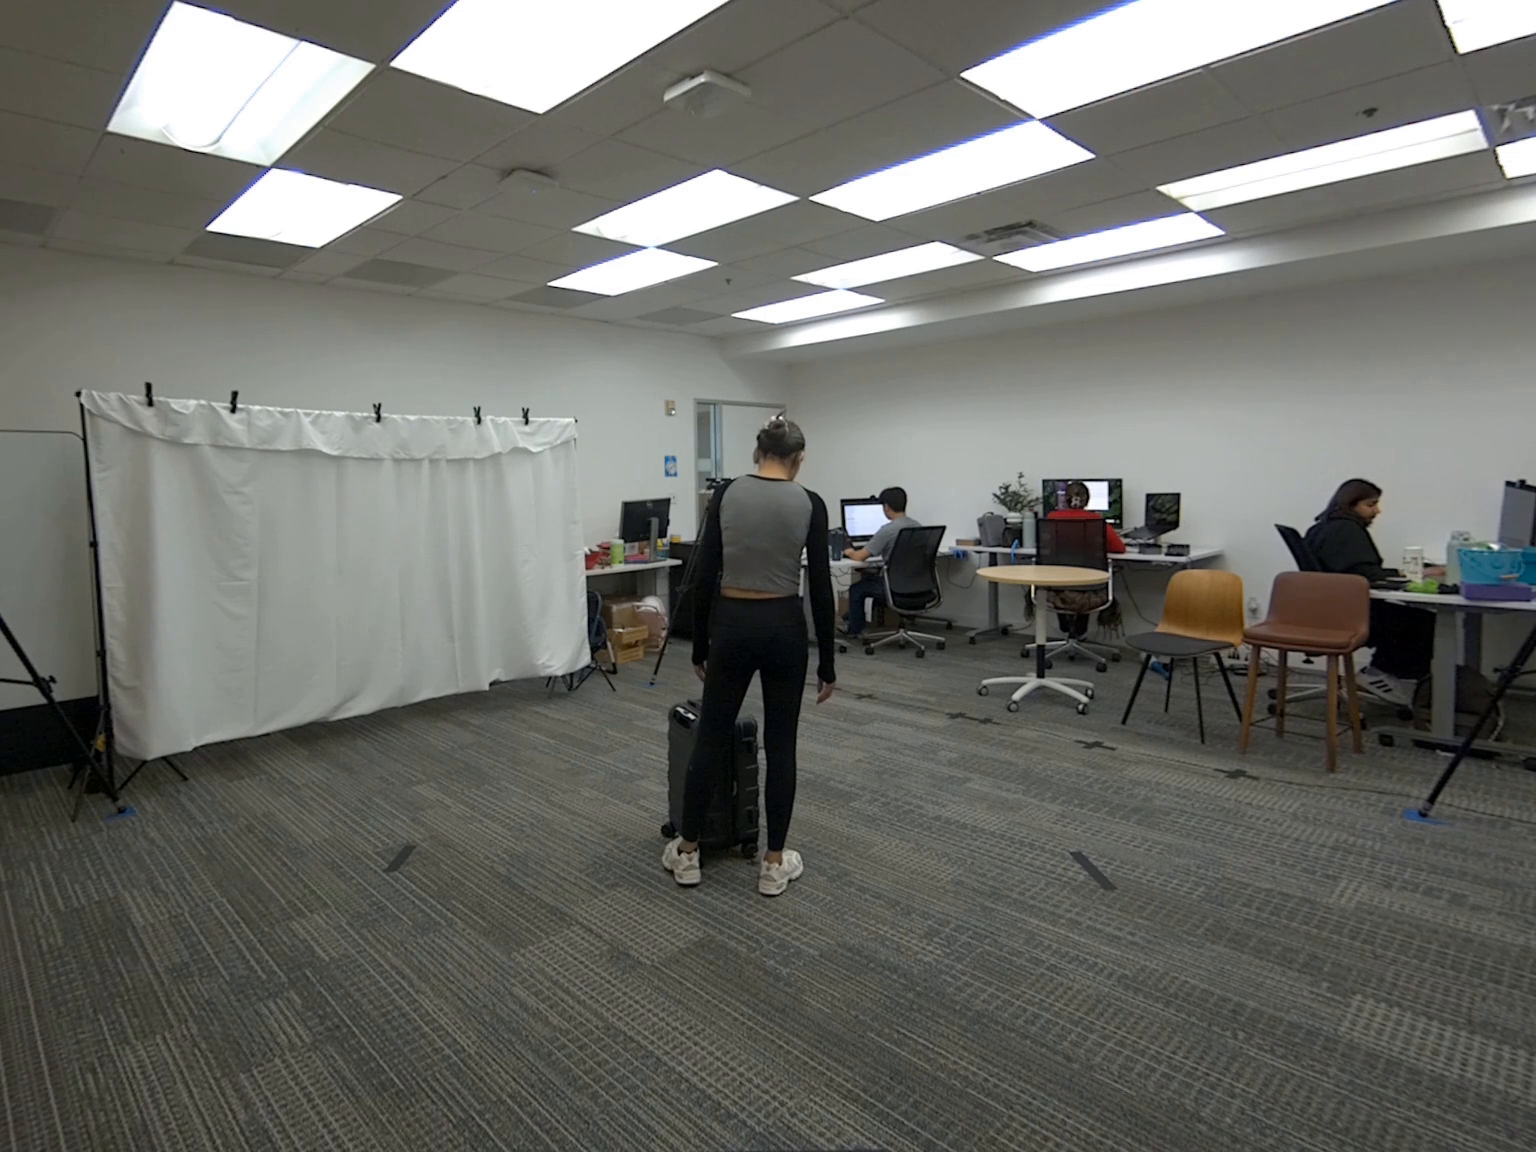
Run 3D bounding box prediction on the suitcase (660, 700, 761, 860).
[{"bbox_3d":[-0.208,0.751,3.241,0.243,0.547,0.385,-2,5,-26],"label":"suitcase"}]
